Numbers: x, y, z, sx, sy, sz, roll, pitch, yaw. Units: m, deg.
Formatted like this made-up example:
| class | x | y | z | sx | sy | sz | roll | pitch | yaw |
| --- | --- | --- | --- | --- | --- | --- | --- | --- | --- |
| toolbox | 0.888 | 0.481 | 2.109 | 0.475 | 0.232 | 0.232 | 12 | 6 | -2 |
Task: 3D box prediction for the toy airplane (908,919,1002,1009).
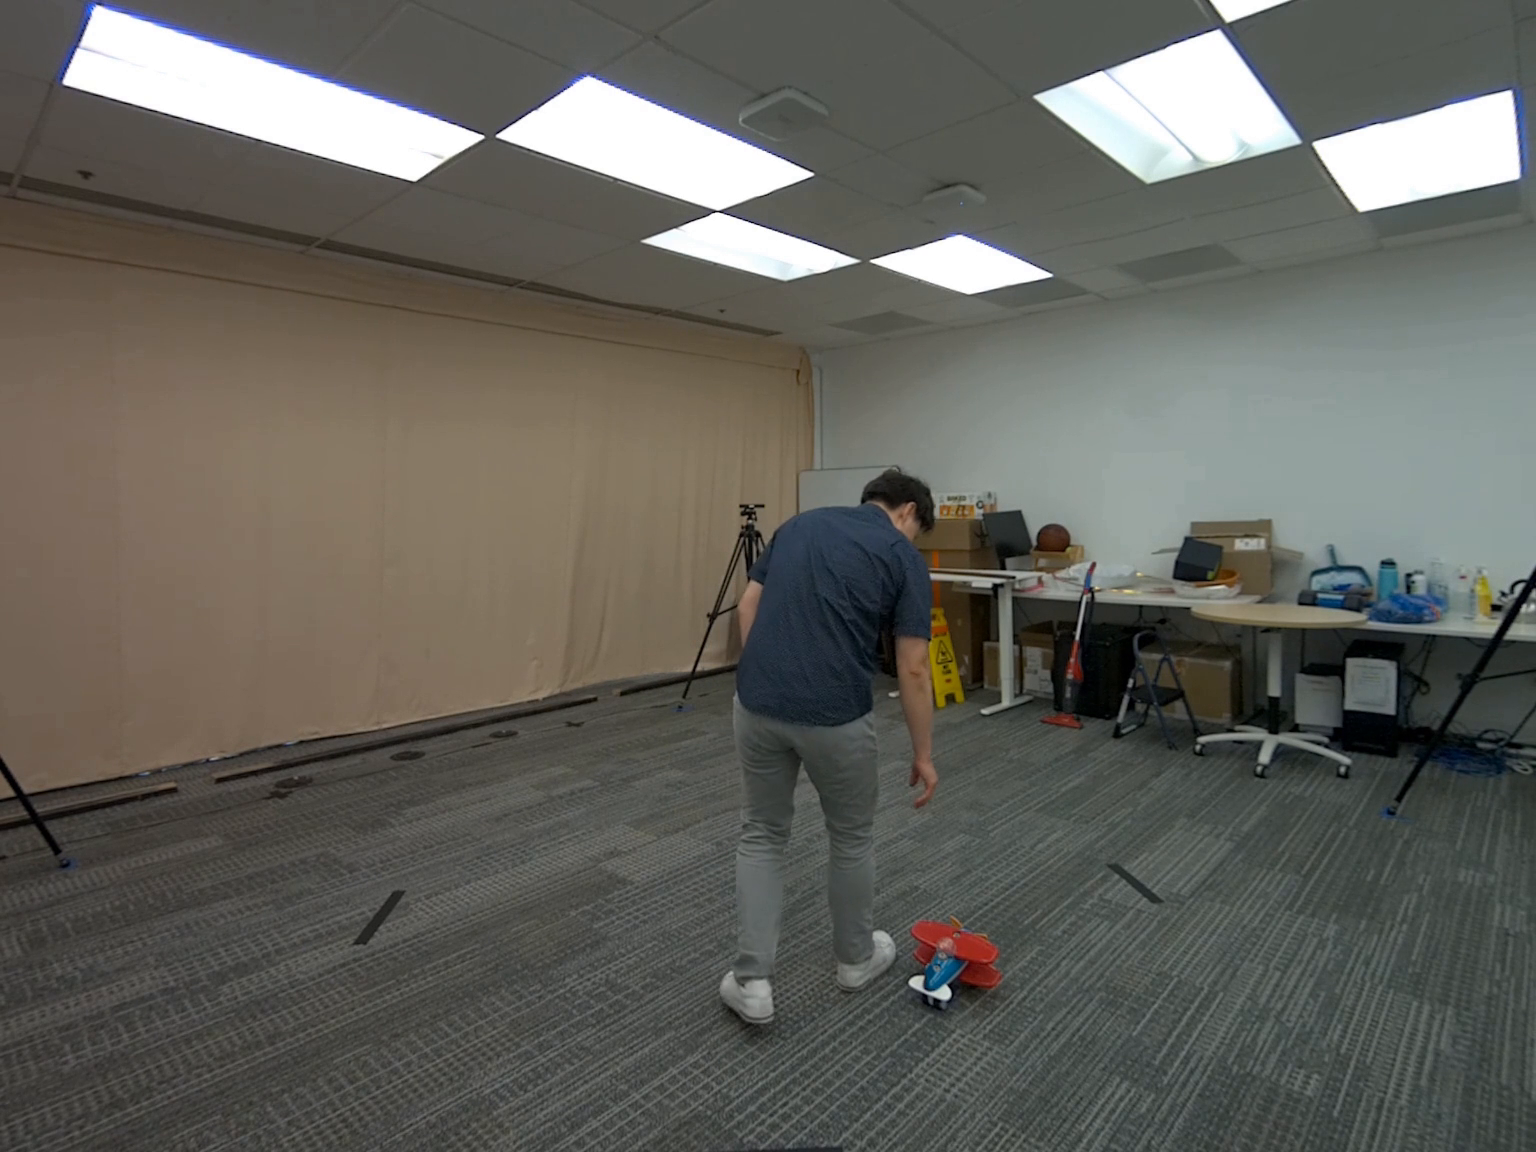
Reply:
| class | x | y | z | sx | sy | sz | roll | pitch | yaw |
| --- | --- | --- | --- | --- | --- | --- | --- | --- | --- |
| toy airplane | 0.538 | 1.111 | 2.377 | 0.255 | 0.156 | 0.256 | 2 | 5 | 13 |
